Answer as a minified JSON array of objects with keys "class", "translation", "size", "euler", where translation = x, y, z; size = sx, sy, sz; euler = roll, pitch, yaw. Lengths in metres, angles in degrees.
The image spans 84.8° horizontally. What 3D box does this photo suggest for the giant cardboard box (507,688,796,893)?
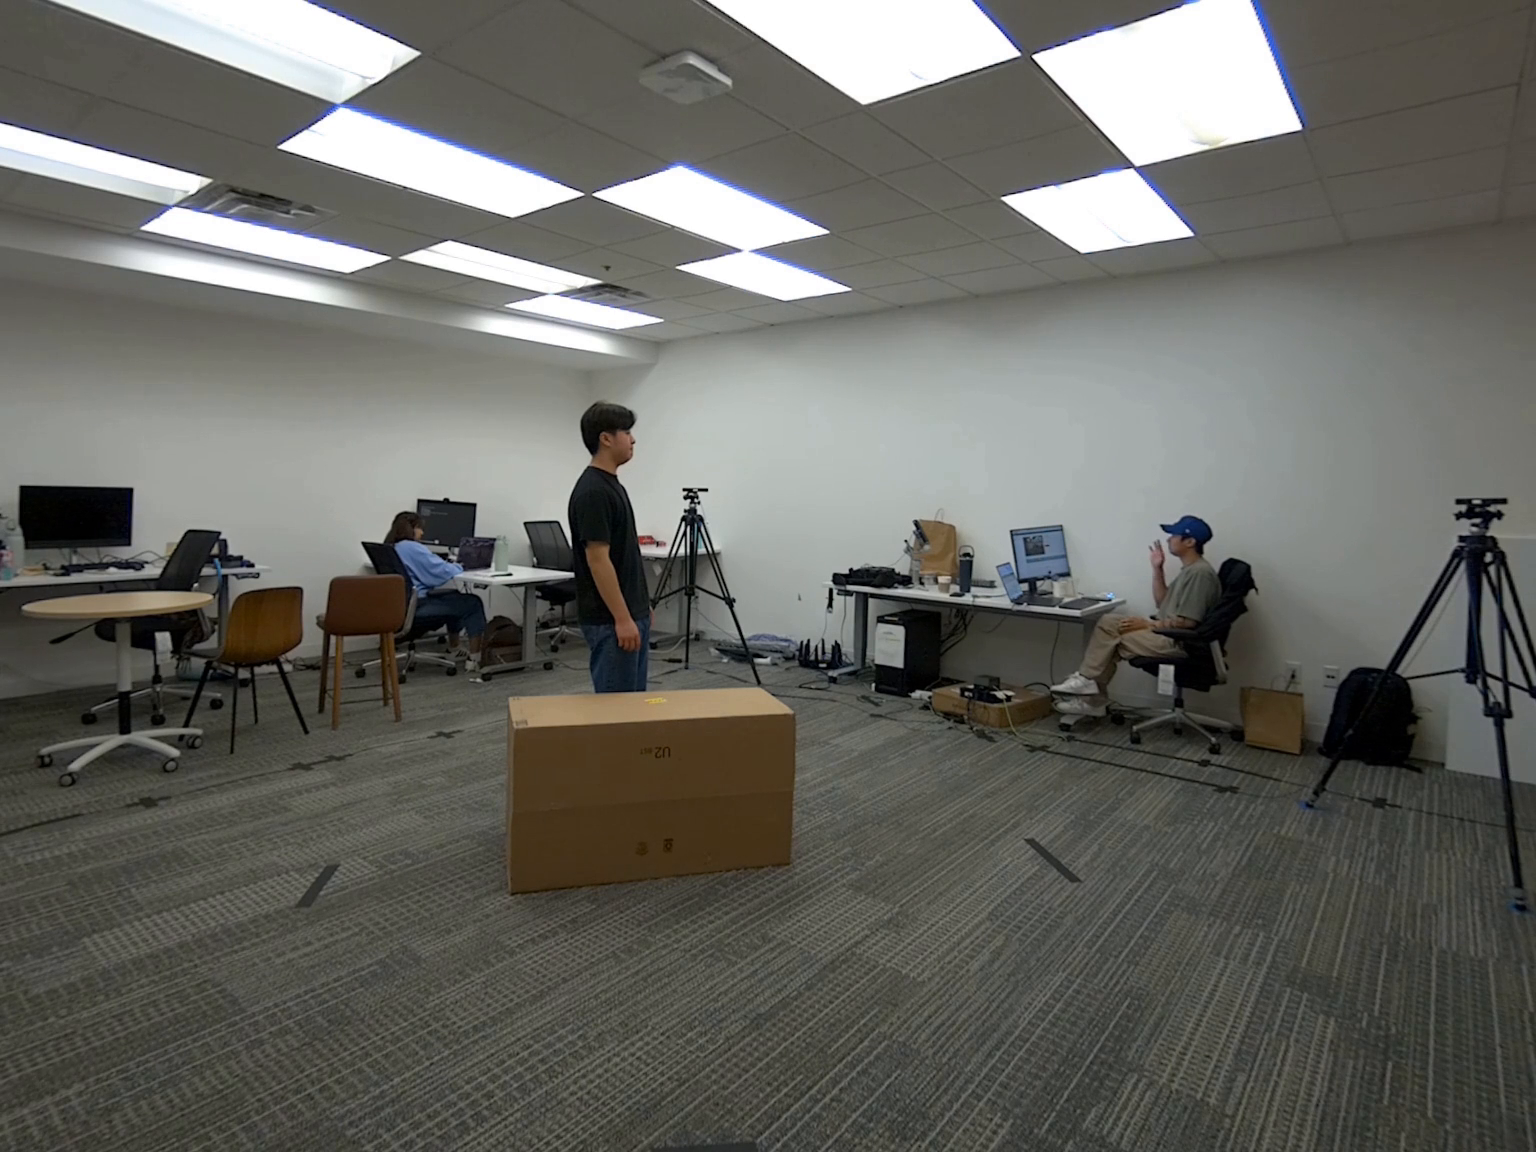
[{"class":"giant cardboard box","translation":[-0.461,0.765,3.211],"size":[1.009,0.583,0.456],"euler":[0,3,-18]}]
